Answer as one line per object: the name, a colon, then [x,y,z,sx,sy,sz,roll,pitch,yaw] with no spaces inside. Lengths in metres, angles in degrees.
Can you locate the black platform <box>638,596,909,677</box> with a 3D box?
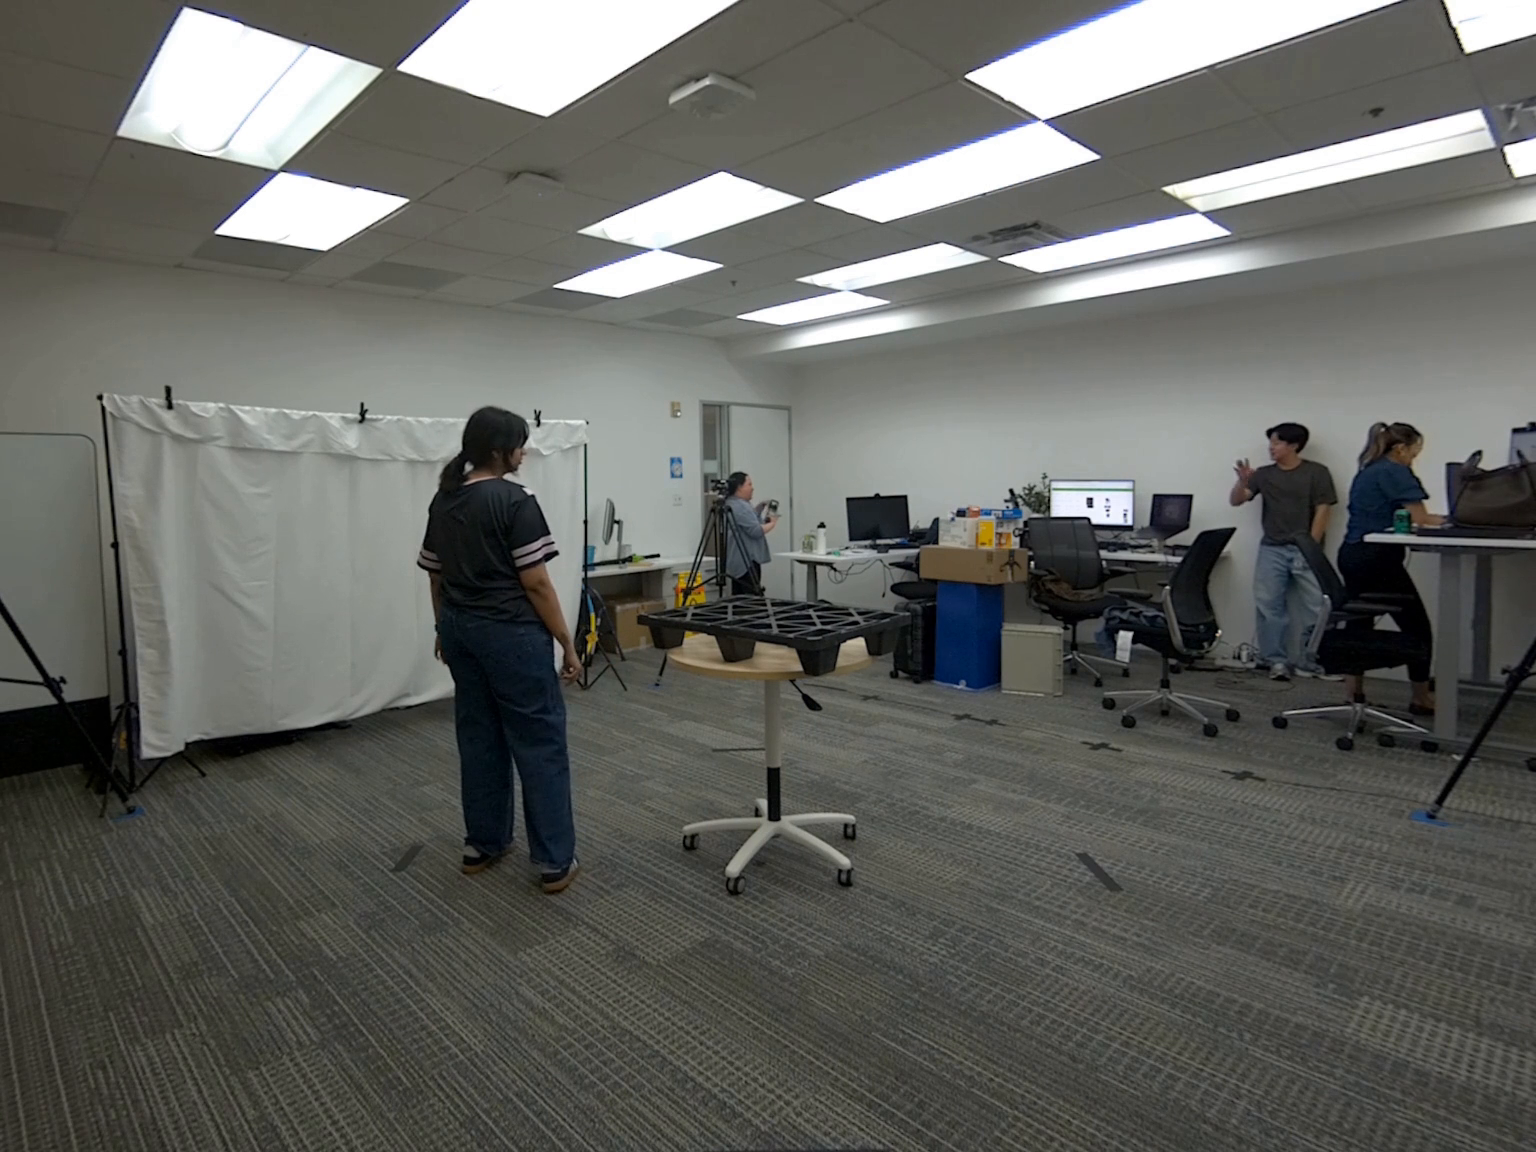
black platform: [0.013,0.205,3.053,0.830,0.142,0.590,4,9,41]
